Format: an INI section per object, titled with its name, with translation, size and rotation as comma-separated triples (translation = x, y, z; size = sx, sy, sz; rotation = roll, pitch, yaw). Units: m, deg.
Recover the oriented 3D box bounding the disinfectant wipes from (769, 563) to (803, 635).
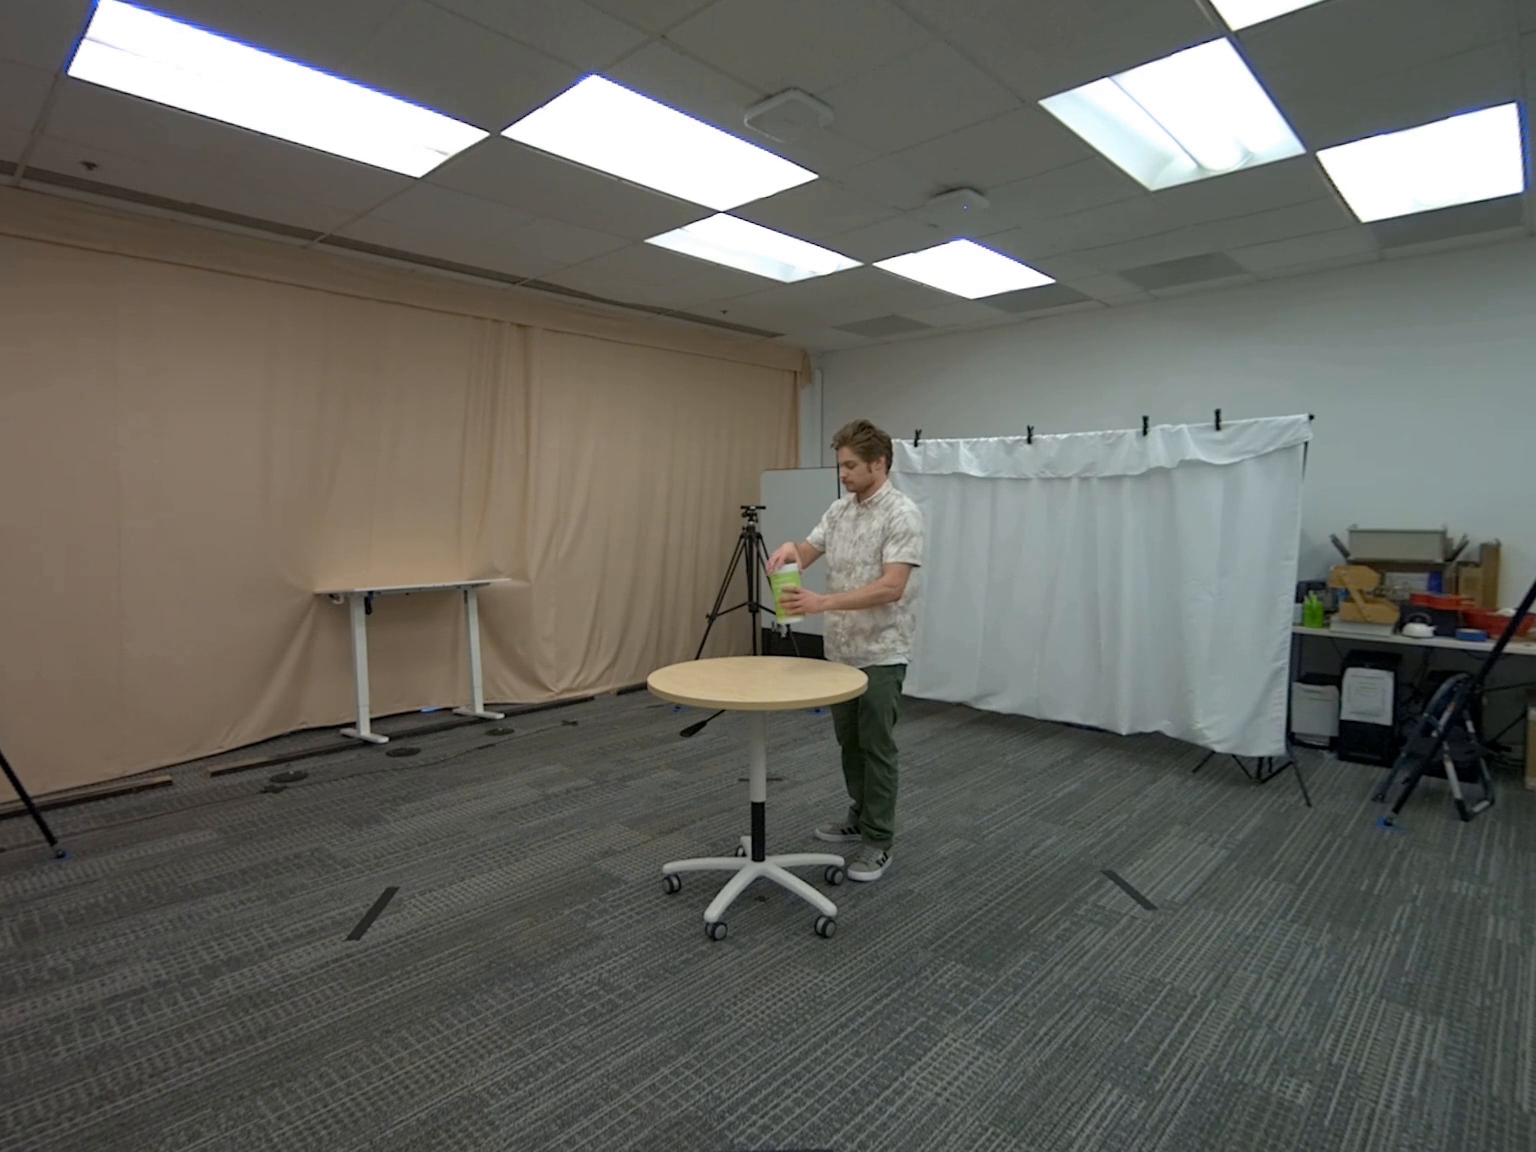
[disinfectant wipes]
translation = 0.076, 0.069, 3.137
size = 0.118, 0.217, 0.118
rotation = -9, 1, -2
